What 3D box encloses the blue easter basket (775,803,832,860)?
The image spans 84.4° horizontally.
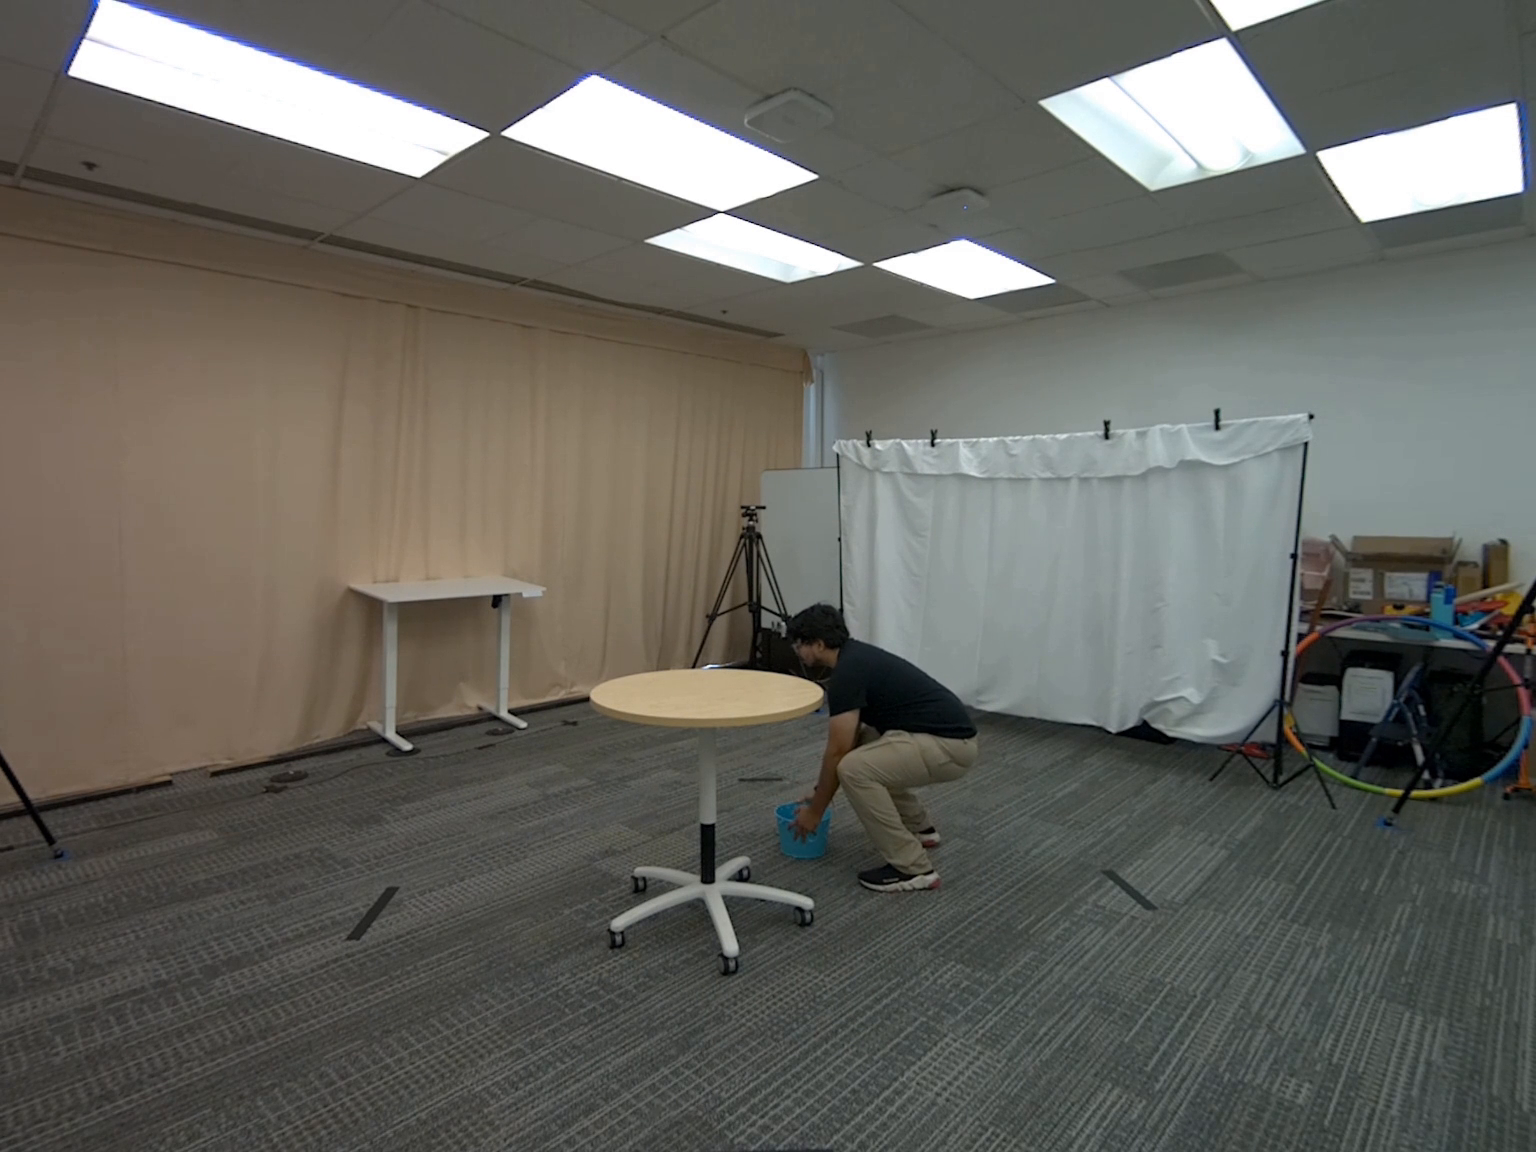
[{"bbox_3d":[0.144,1.032,3.420,0.243,0.155,0.244,-1,3,-2],"label":"blue easter basket"}]
